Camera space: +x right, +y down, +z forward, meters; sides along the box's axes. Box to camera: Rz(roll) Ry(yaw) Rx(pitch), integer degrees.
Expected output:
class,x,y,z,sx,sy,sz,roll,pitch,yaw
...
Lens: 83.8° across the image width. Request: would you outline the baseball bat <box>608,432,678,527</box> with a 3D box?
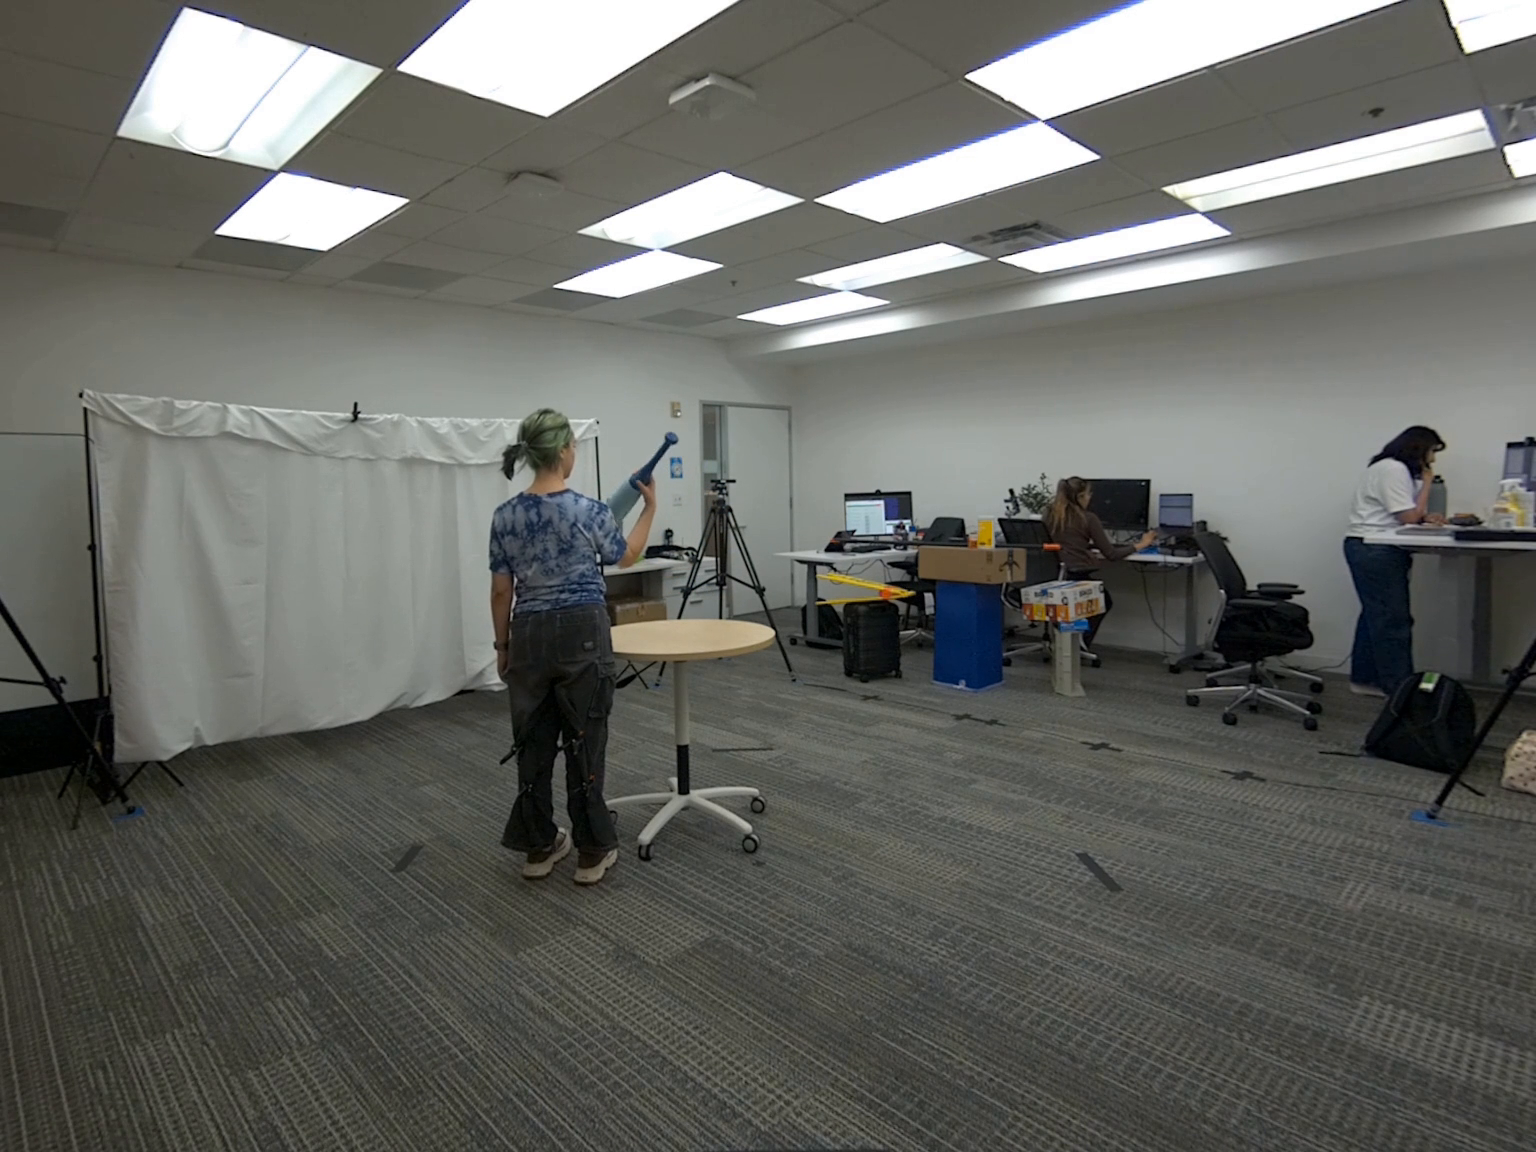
class,x,y,z,sx,sy,sz,roll,pitch,yaw
baseball bat,-0.482,-0.354,3.172,0.087,0.091,0.543,-4,-28,-38
